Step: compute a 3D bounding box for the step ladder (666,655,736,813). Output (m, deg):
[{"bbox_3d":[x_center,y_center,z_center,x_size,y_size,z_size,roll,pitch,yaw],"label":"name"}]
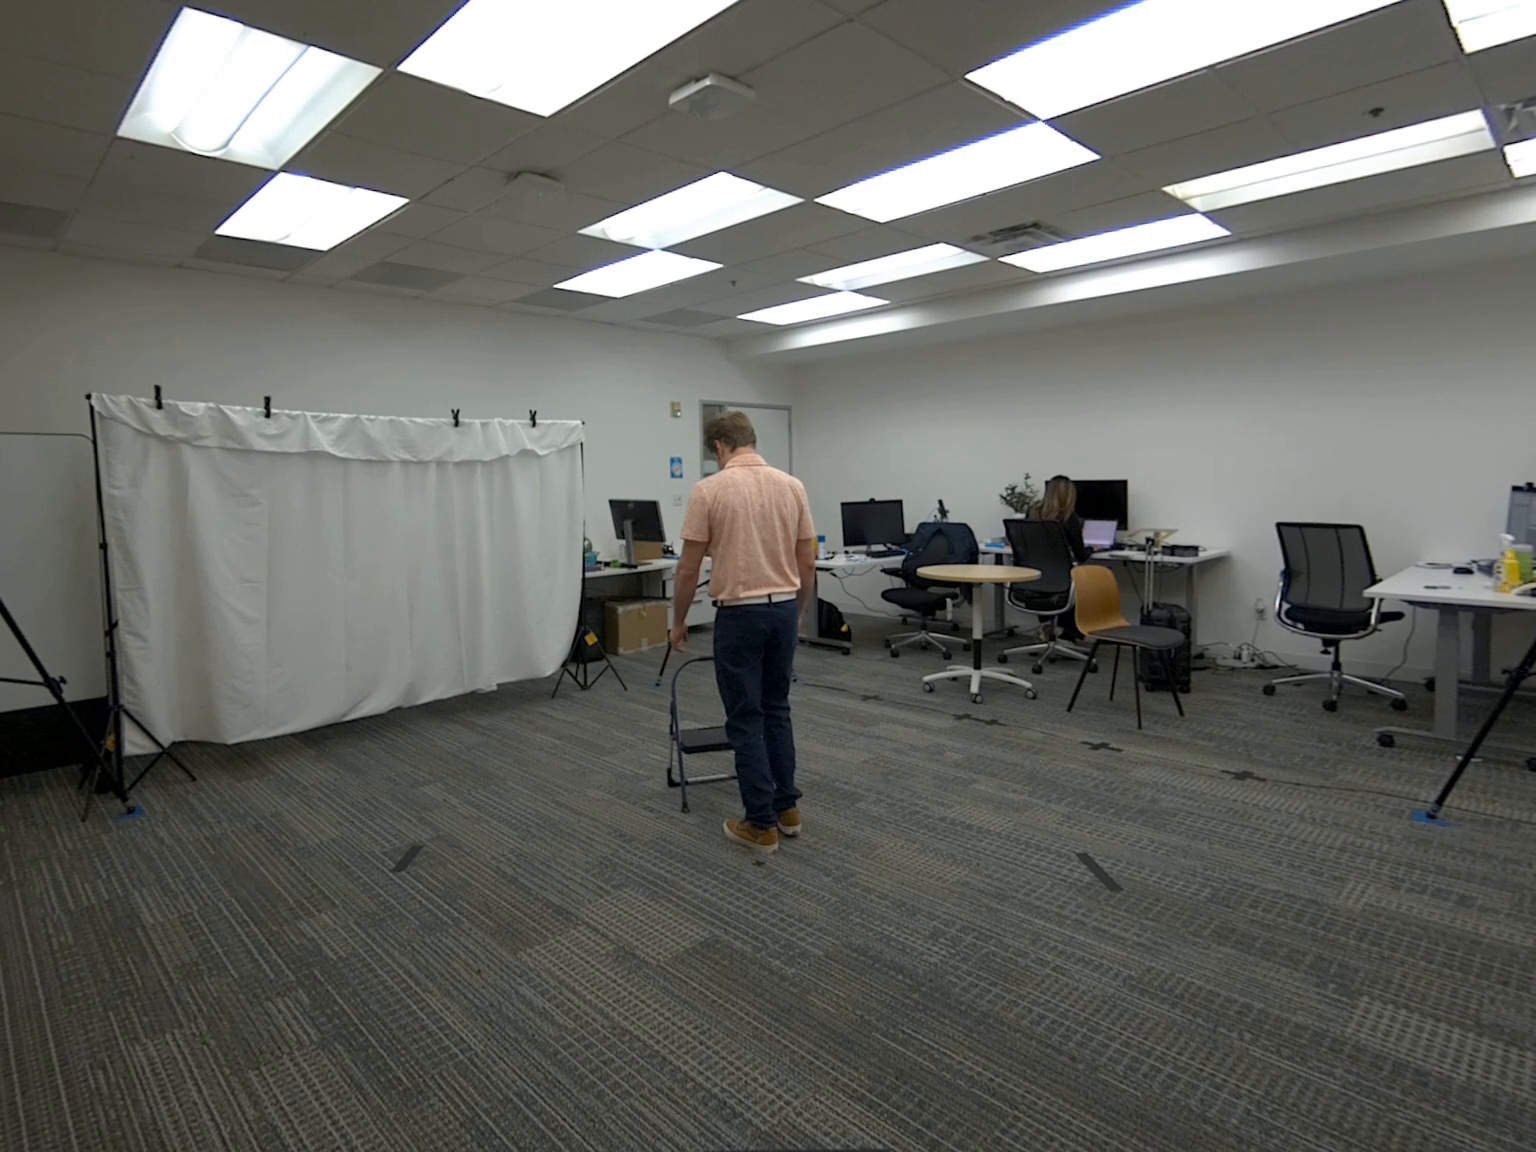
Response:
[{"bbox_3d":[-0.219,0.669,3.810,0.424,0.604,0.356,-3,4,-18],"label":"step ladder"}]
